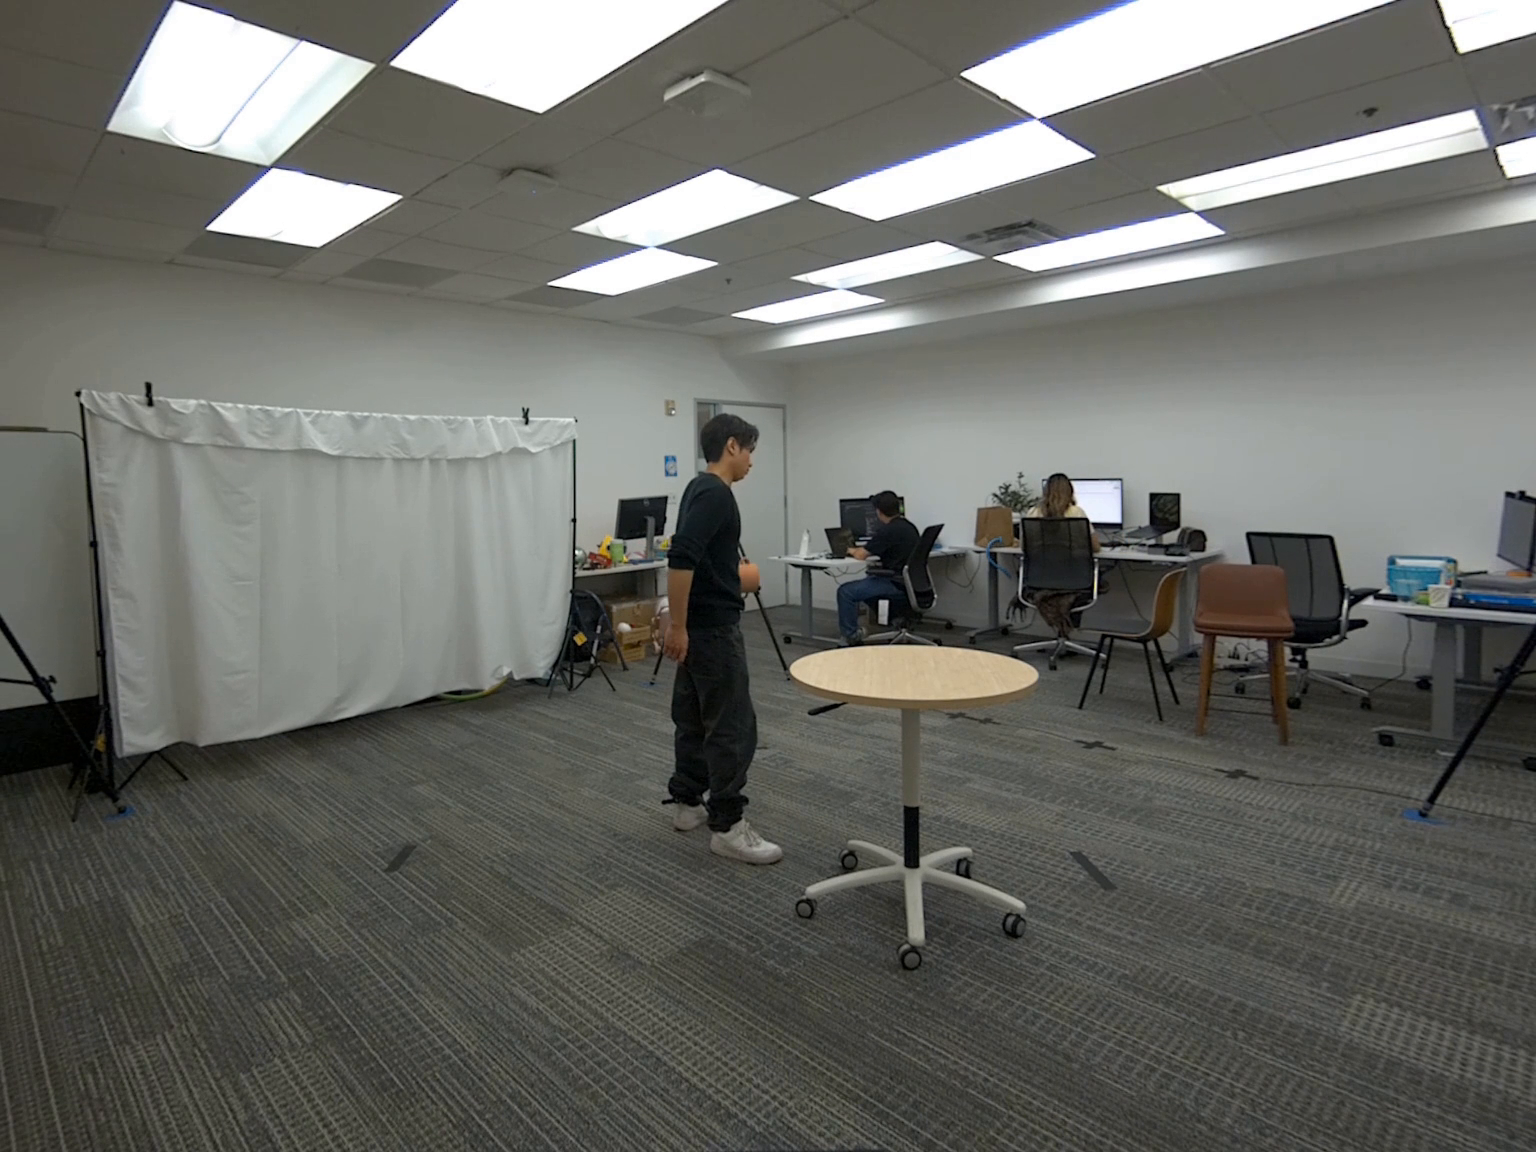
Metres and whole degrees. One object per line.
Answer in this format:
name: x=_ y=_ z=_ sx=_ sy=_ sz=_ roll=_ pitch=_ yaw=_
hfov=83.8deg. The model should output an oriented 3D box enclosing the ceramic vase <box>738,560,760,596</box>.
ceramic vase: x=-0.163 y=0.010 z=3.918 sx=0.216 sy=0.163 sz=0.133 roll=-2 pitch=-29 yaw=-21
